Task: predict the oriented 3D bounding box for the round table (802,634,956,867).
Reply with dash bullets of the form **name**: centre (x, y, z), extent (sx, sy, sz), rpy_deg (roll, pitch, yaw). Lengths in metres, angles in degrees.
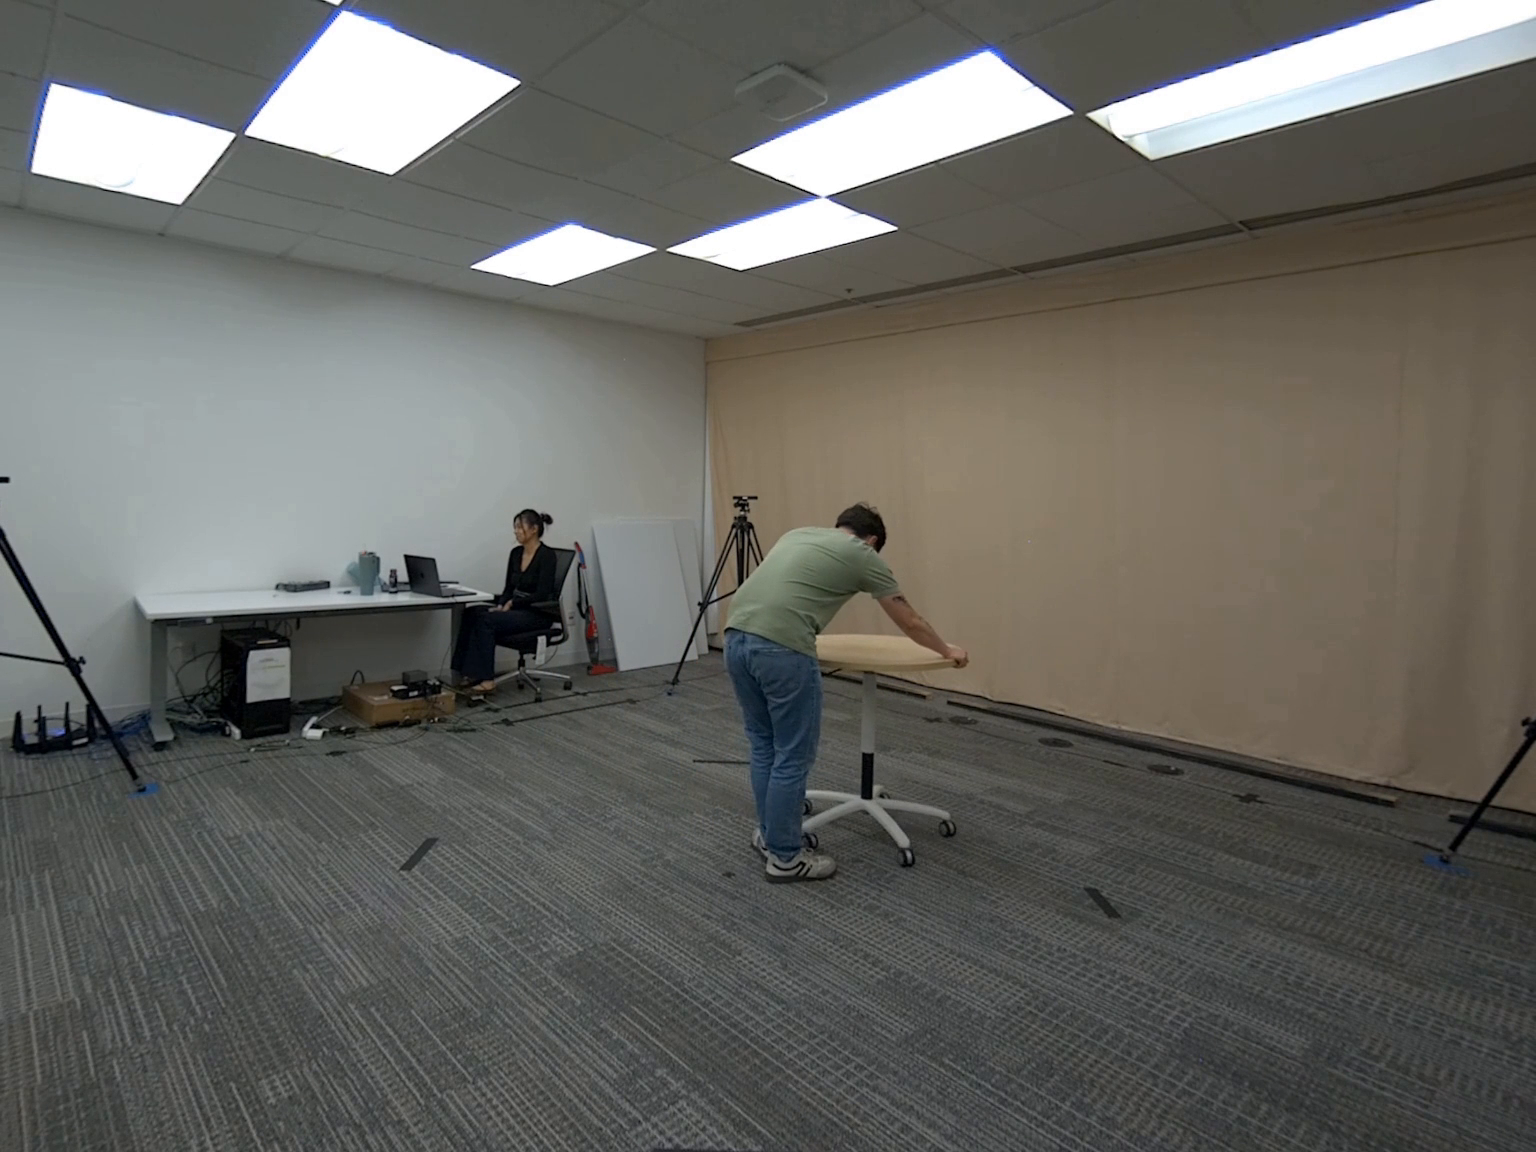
- **round table**: centre (0.418, 0.695, 3.535), extent (0.763, 0.792, 0.766), rpy_deg (1, 3, -1)
